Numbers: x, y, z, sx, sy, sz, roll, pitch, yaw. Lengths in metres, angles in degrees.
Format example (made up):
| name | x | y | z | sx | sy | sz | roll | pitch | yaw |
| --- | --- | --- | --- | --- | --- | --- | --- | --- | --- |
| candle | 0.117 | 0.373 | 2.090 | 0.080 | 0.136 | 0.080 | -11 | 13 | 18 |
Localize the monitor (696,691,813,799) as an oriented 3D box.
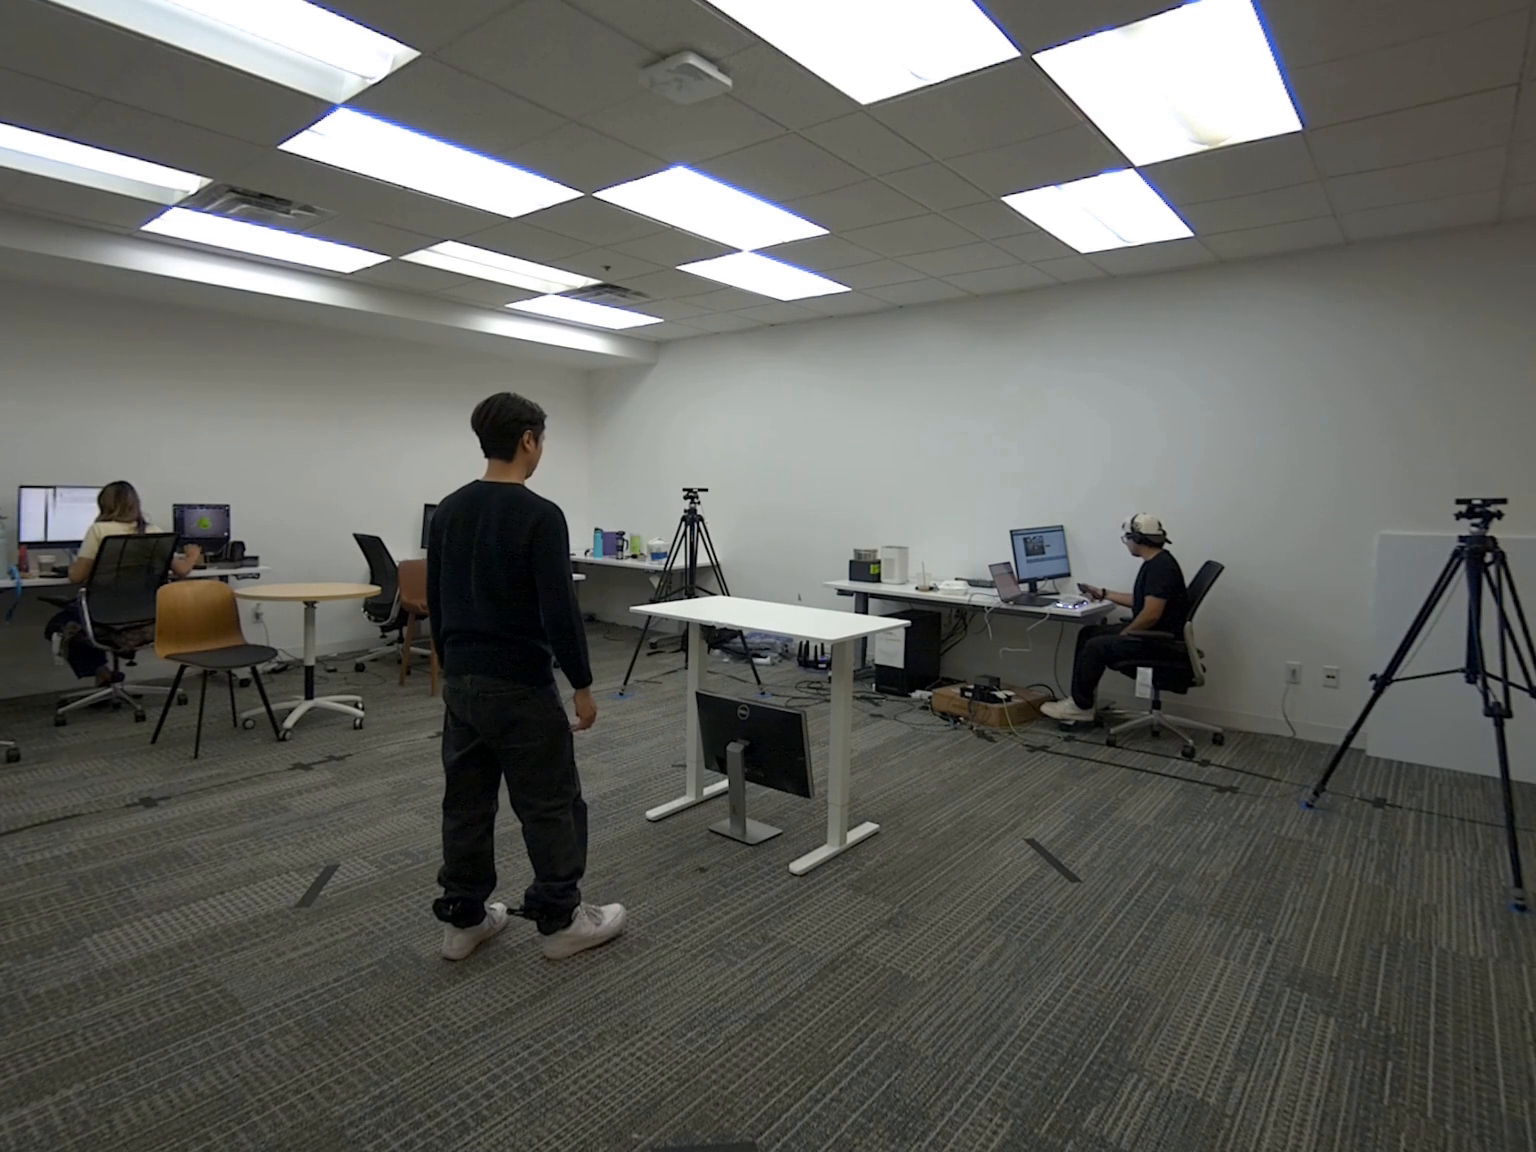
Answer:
| name | x | y | z | sx | sy | sz | roll | pitch | yaw |
| --- | --- | --- | --- | --- | --- | --- | --- | --- | --- |
| monitor | -0.097 | 0.763 | 3.456 | 0.547 | 0.517 | 0.168 | 3 | -3 | 39 |
